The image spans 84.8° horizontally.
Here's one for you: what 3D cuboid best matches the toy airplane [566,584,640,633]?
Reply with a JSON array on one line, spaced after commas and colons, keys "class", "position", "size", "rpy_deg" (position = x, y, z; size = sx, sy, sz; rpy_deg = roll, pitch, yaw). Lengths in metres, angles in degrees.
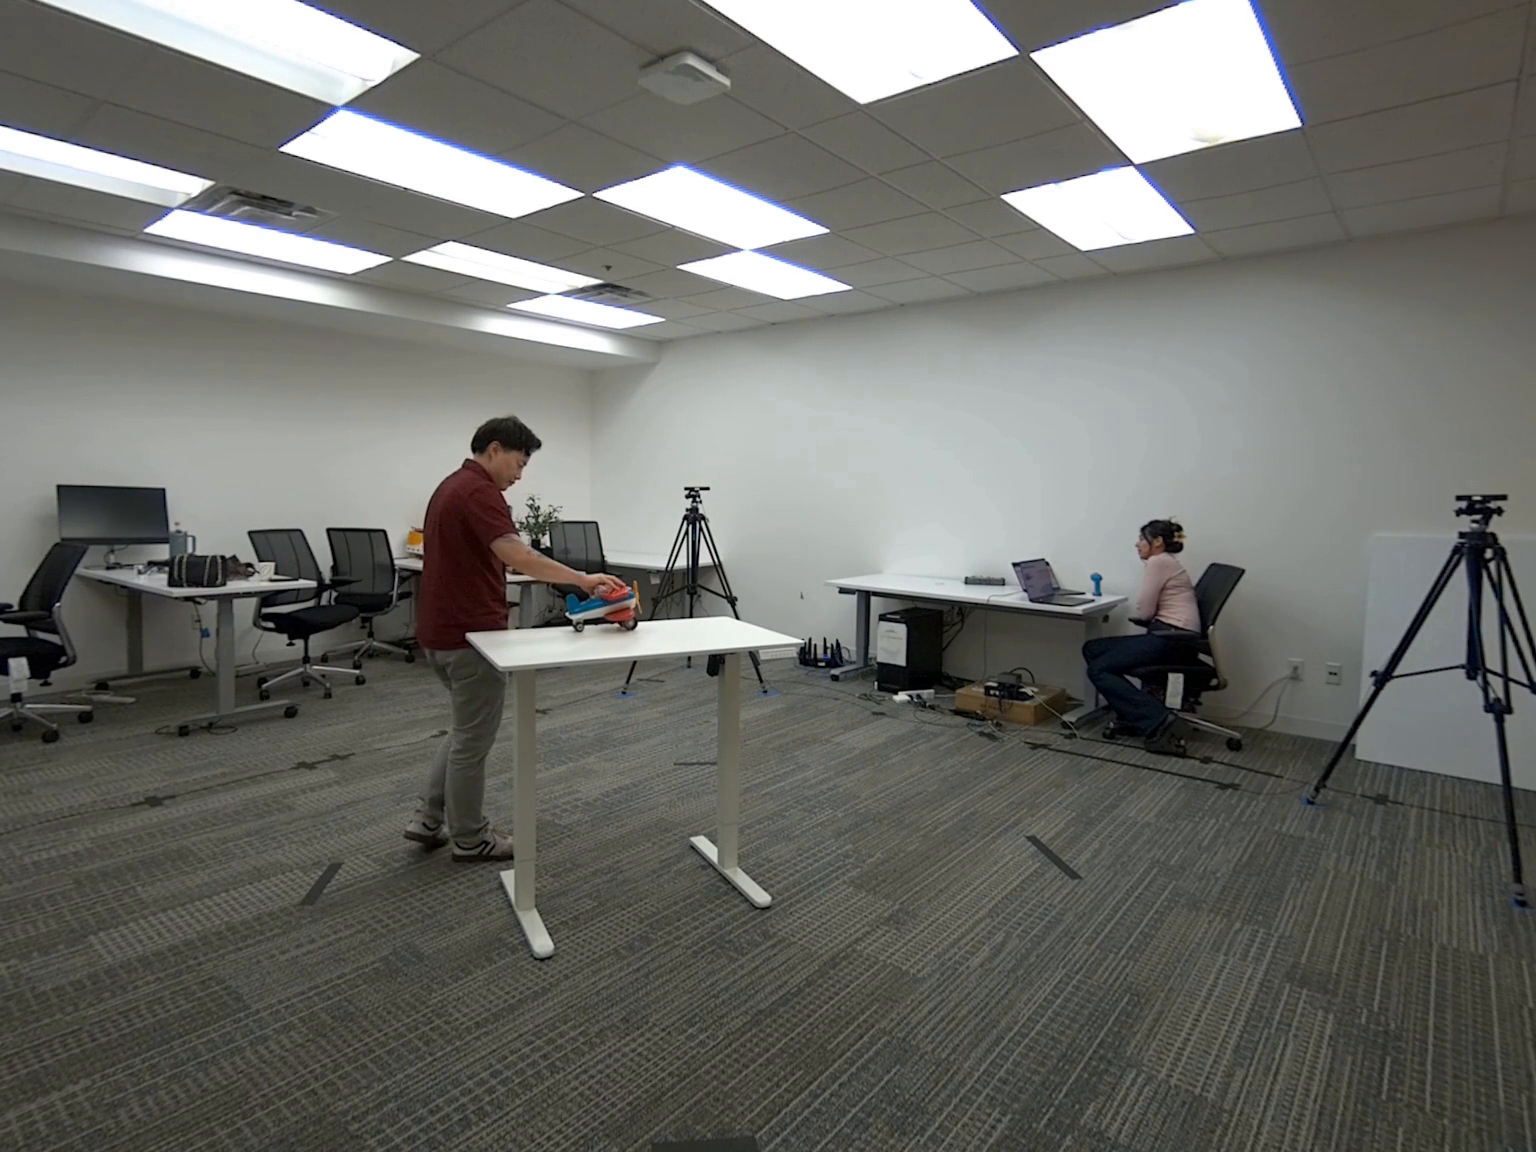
[{"class": "toy airplane", "position": [-0.583, 0.115, 3.006], "size": [0.259, 0.156, 0.252], "rpy_deg": [2, 4, 39]}]
